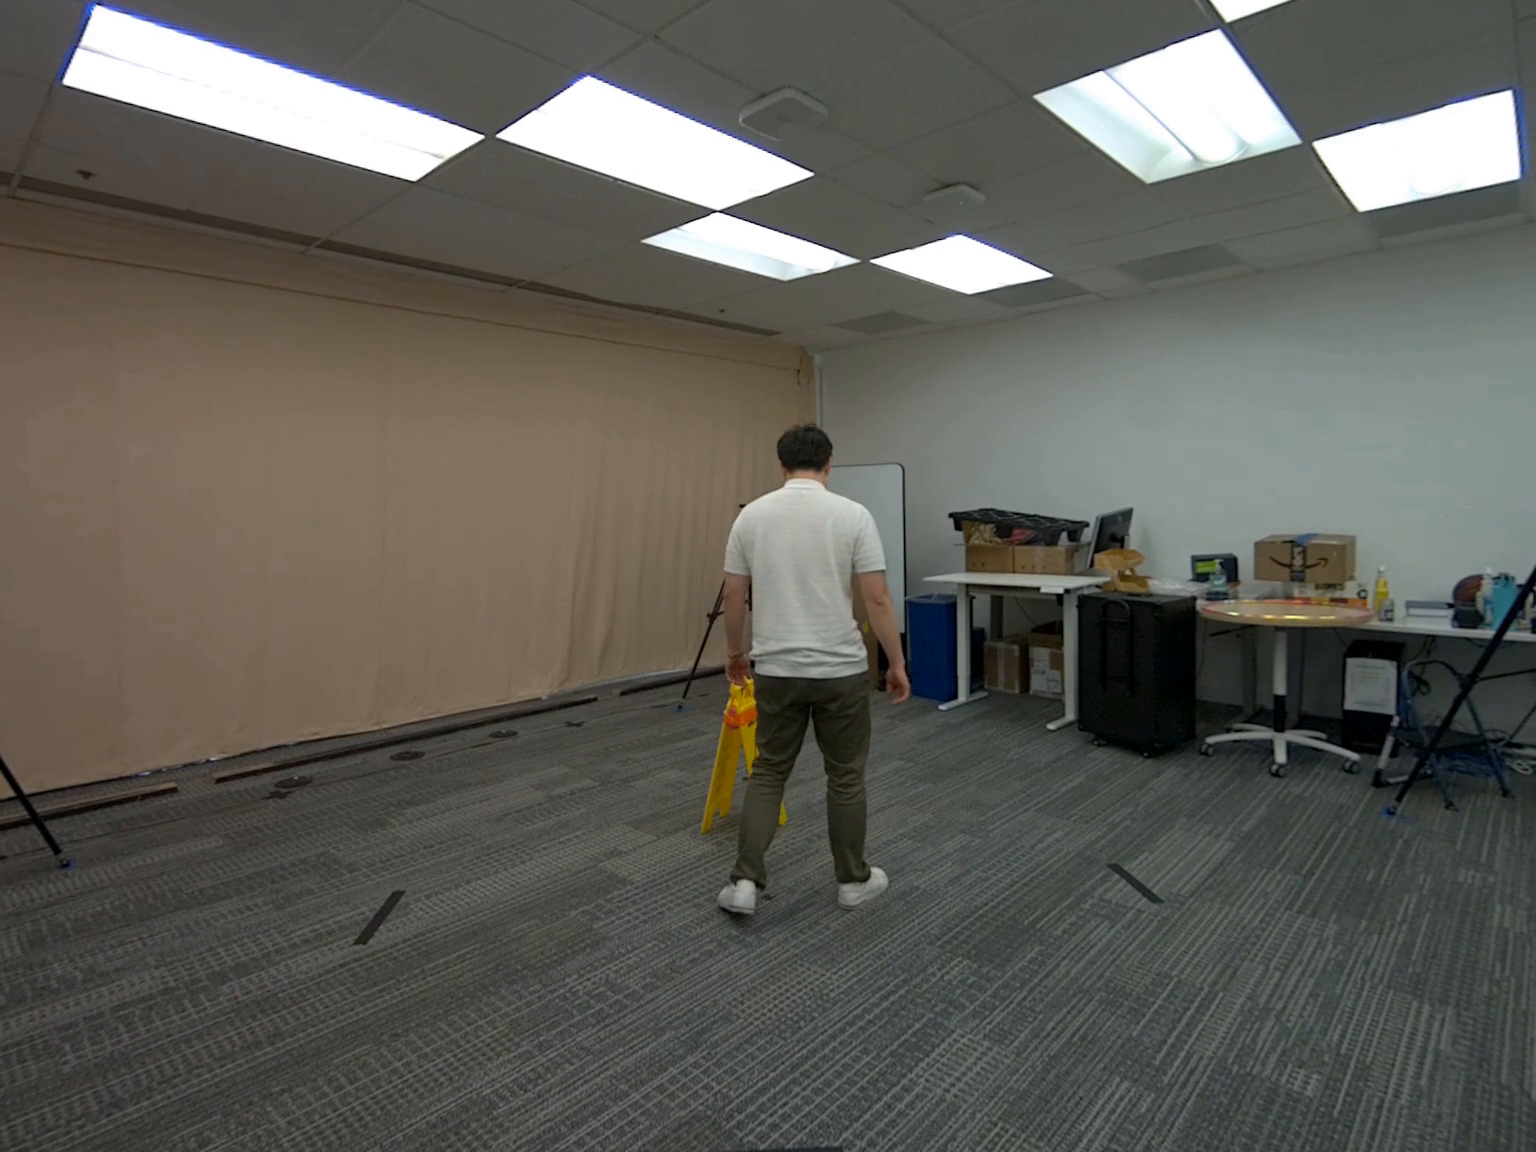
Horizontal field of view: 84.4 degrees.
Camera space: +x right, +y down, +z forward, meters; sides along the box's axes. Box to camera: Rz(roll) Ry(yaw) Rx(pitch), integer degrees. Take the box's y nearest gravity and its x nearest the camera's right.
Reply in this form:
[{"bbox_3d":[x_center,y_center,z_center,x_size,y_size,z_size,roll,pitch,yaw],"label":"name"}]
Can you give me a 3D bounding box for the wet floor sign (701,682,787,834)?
[{"bbox_3d":[-0.109,0.763,3.621,0.296,0.645,0.276,-1,1,21],"label":"wet floor sign"}]
